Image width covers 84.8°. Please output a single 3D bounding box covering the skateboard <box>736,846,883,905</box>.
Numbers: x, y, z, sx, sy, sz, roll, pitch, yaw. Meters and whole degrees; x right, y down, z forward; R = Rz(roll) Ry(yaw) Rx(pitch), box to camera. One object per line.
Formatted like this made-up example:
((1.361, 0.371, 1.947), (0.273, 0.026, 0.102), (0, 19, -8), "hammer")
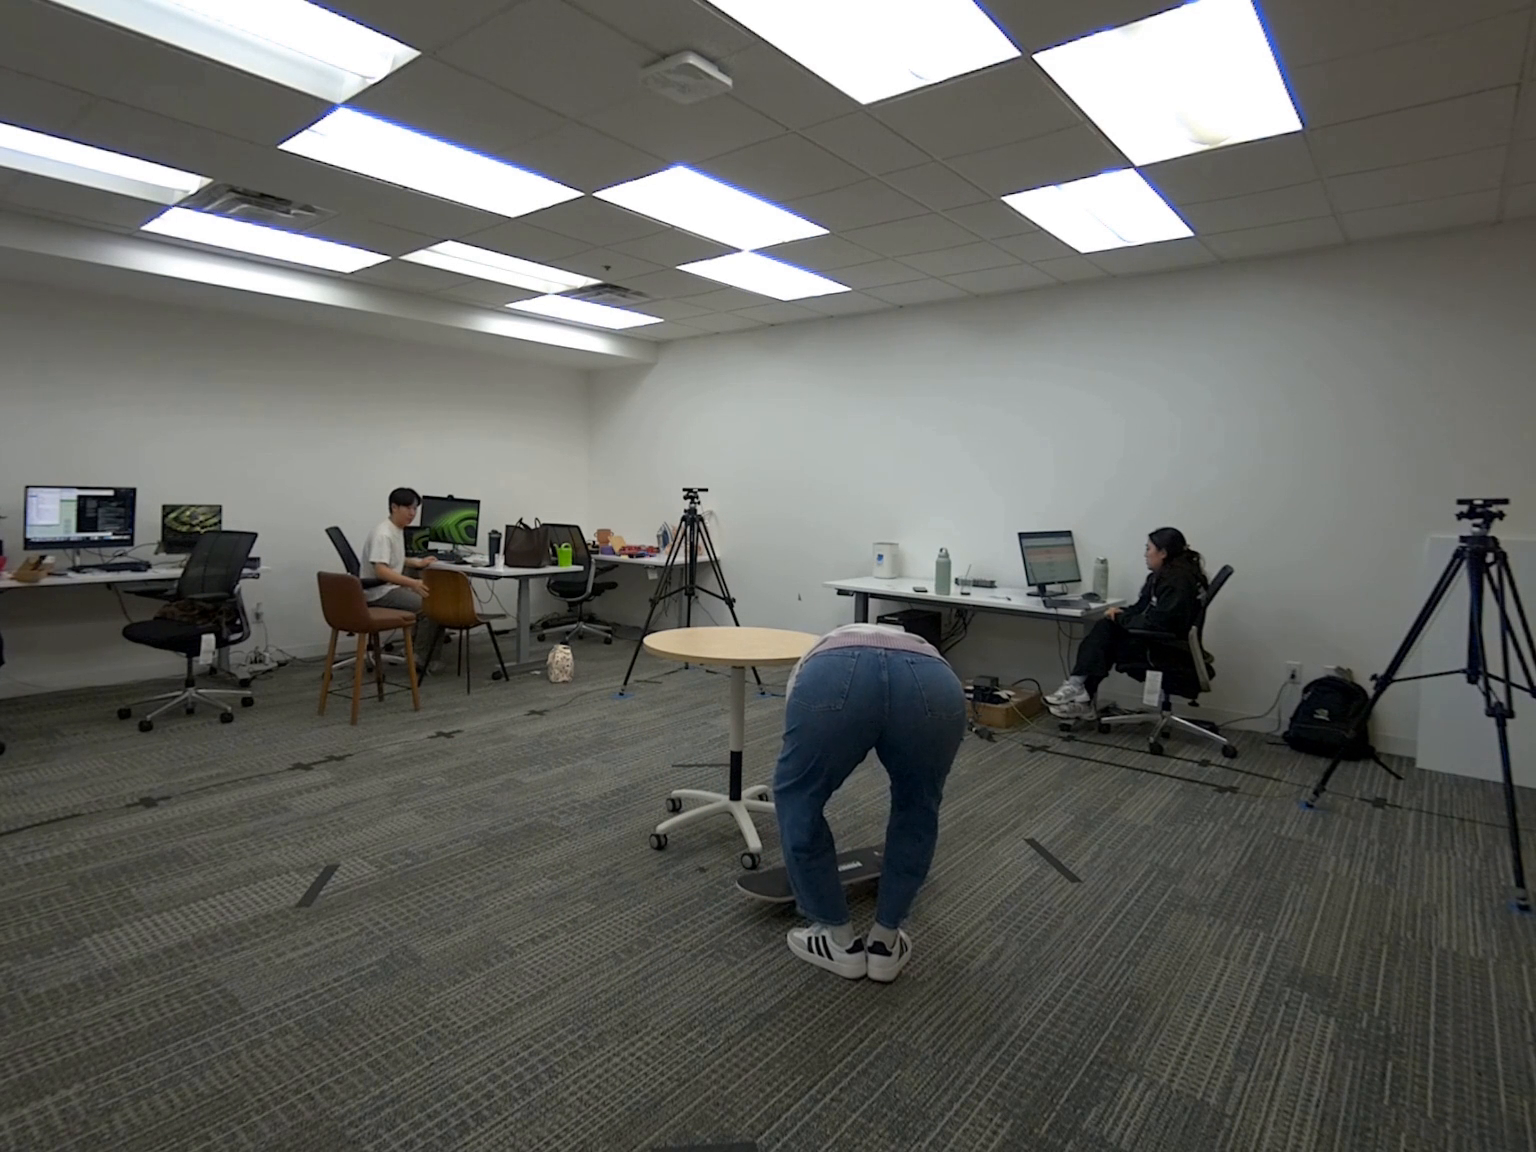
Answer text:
((0.231, 1.037, 2.938), (0.764, 0.110, 0.199), (-2, 6, -31), "skateboard")
